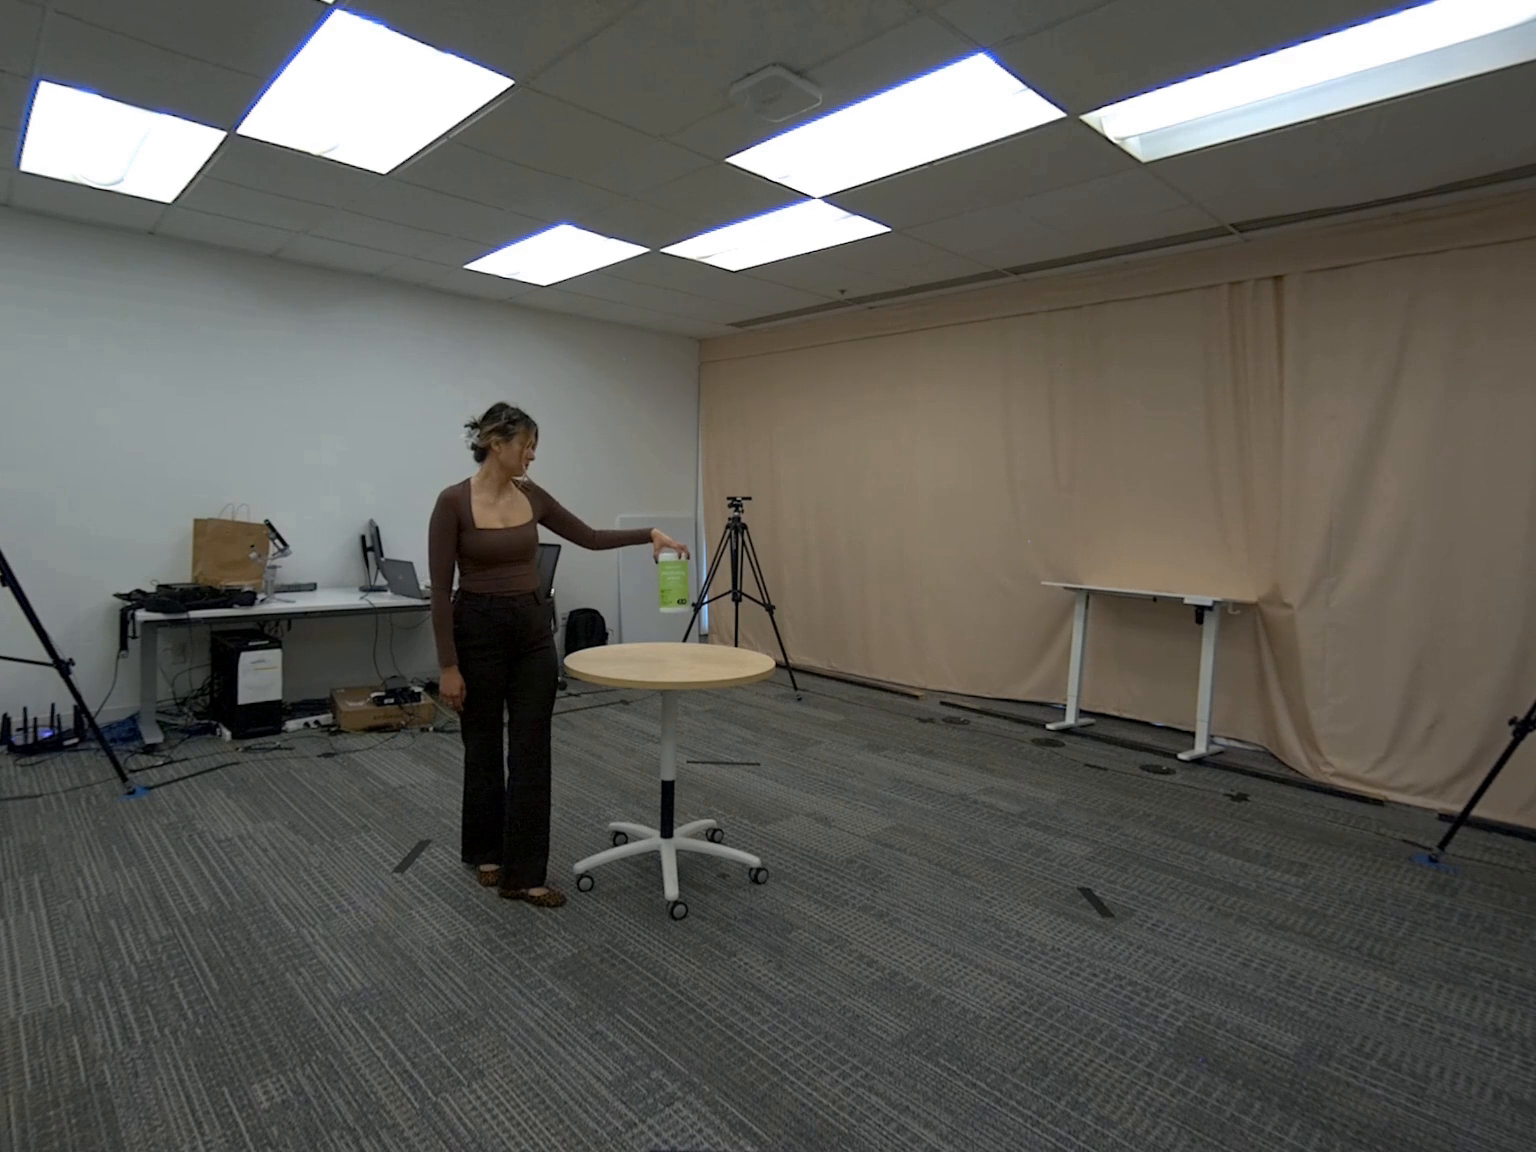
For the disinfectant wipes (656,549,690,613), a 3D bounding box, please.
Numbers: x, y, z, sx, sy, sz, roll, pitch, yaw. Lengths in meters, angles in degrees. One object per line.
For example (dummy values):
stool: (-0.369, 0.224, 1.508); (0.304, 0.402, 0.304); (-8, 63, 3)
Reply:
disinfectant wipes: (-0.357, 0.029, 3.061); (0.118, 0.217, 0.118); (-3, -1, -1)
